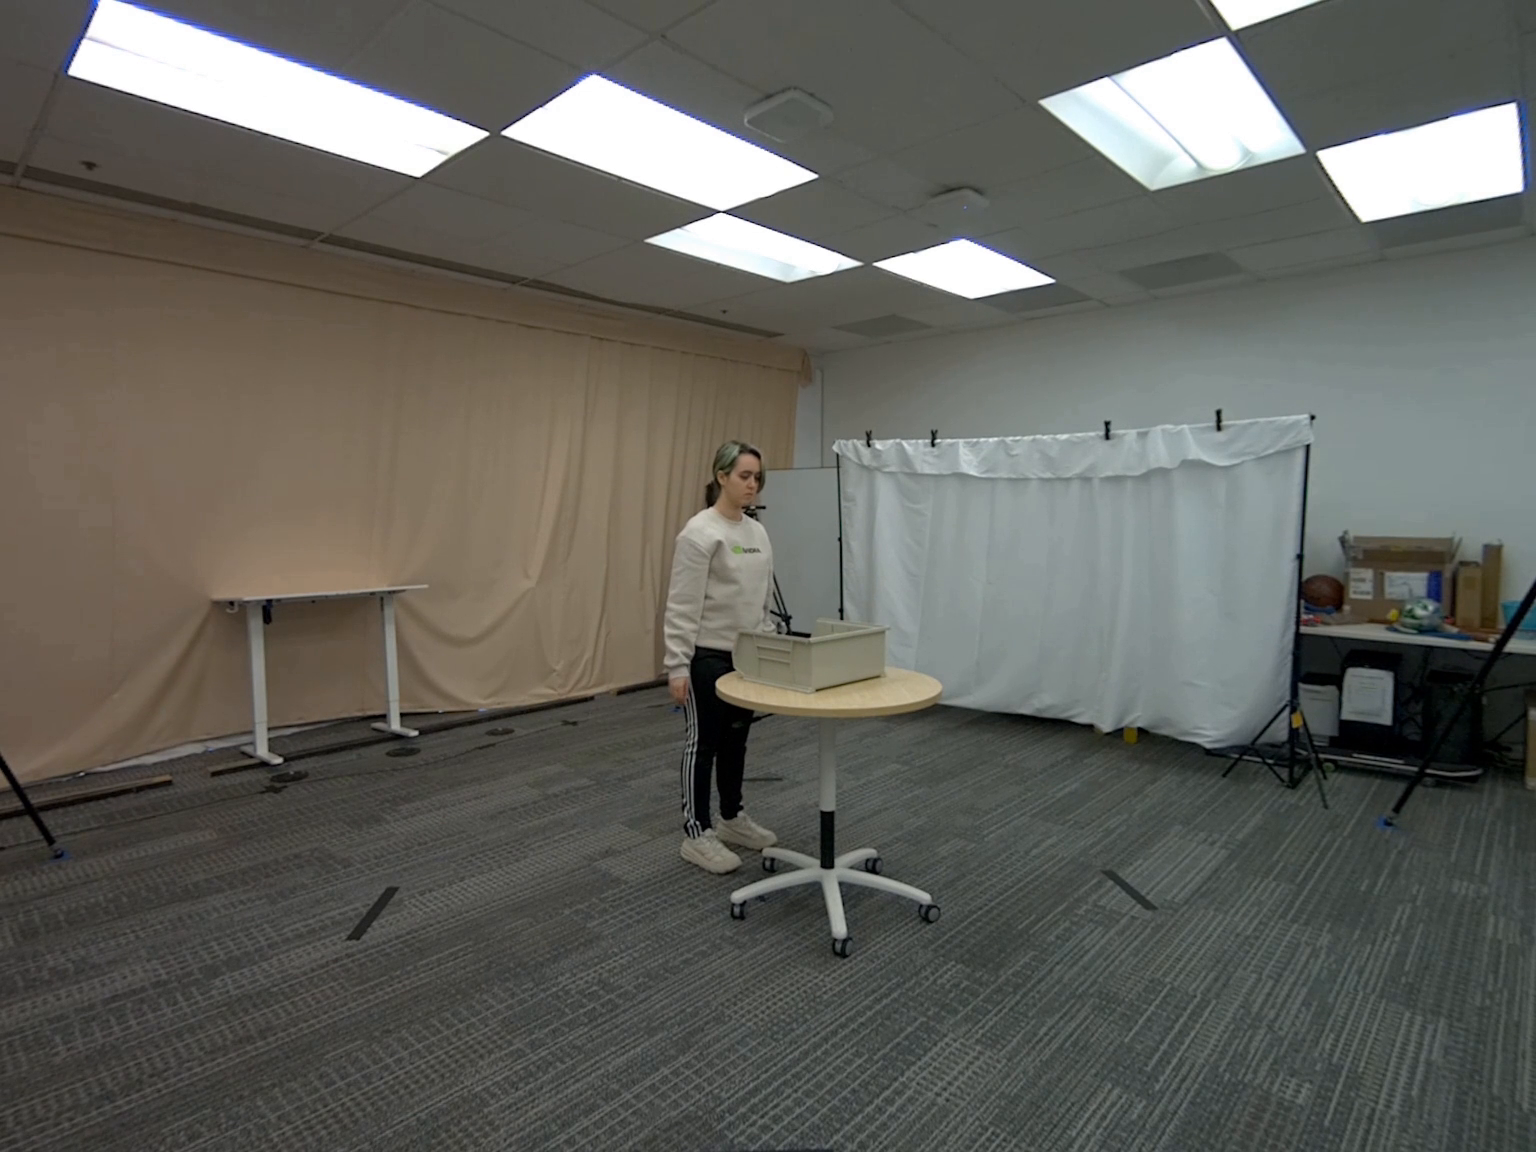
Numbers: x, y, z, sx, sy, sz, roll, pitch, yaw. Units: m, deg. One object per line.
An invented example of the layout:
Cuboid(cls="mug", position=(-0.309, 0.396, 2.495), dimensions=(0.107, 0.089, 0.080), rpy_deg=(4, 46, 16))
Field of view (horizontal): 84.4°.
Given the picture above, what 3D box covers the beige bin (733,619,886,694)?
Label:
Cuboid(cls="beige bin", position=(0.154, 0.273, 2.973), dimensions=(0.409, 0.188, 0.390), rpy_deg=(-4, 6, -43))
